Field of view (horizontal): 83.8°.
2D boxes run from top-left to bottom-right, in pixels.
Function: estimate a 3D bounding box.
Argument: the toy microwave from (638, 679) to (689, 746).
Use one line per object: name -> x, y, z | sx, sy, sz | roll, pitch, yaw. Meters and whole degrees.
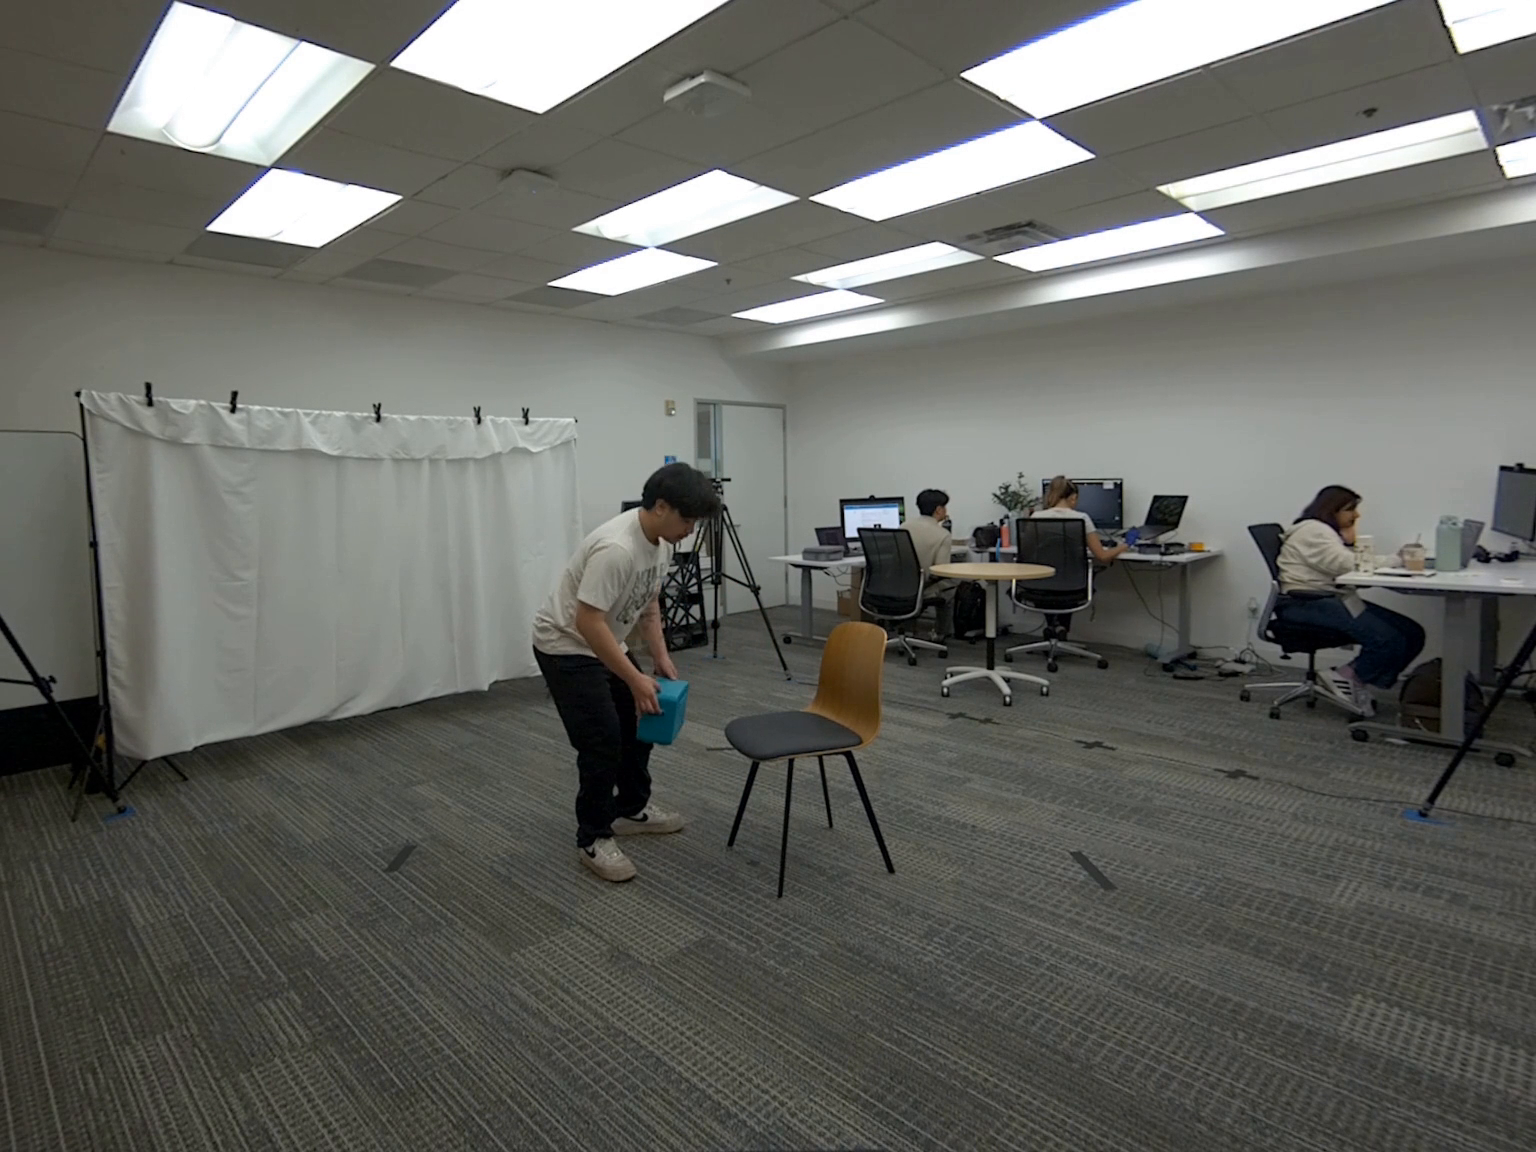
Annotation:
toy microwave -> -0.389, 0.487, 3.106 | 0.153, 0.183, 0.285 | 8, 5, 6
